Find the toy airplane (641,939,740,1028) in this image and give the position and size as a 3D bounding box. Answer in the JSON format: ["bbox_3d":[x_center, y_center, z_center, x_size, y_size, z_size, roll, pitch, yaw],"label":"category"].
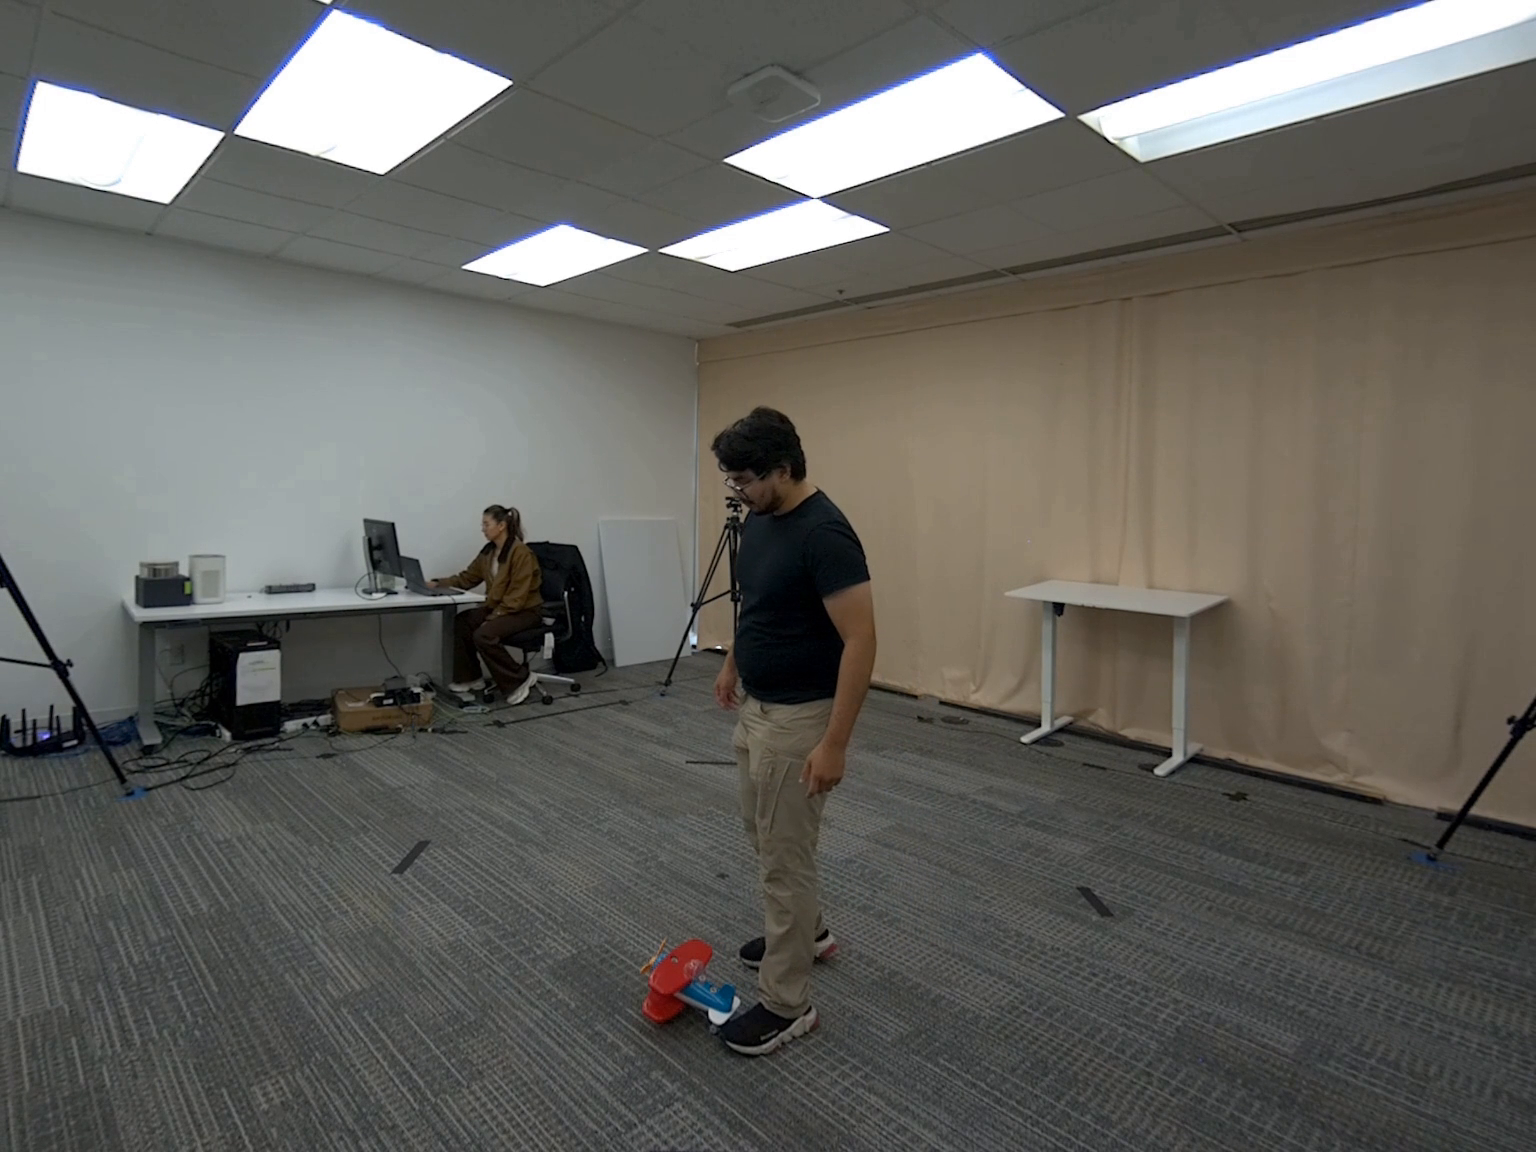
[{"bbox_3d":[-0.213,1.117,2.258,0.259,0.156,0.252,-2,6,-2],"label":"toy airplane"}]
